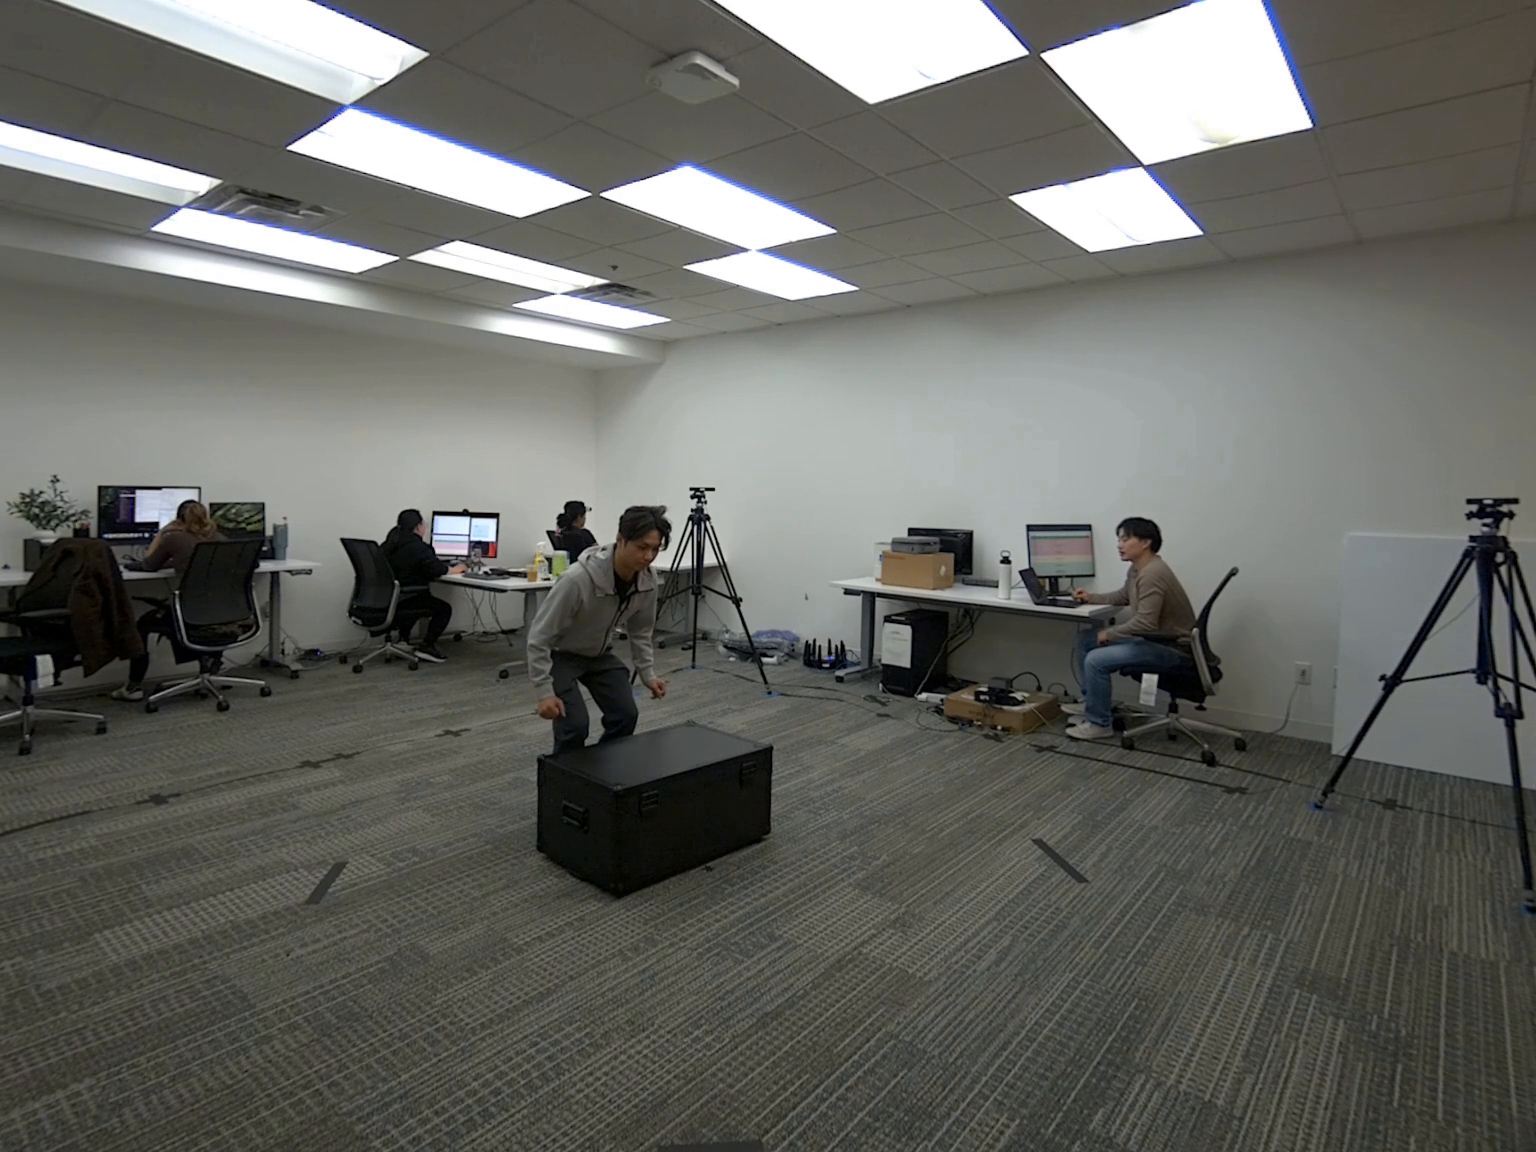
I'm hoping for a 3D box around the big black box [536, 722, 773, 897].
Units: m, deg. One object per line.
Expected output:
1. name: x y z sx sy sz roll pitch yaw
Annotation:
1. big black box: -0.409 0.855 3.291 0.539 0.395 0.836 5 7 43
